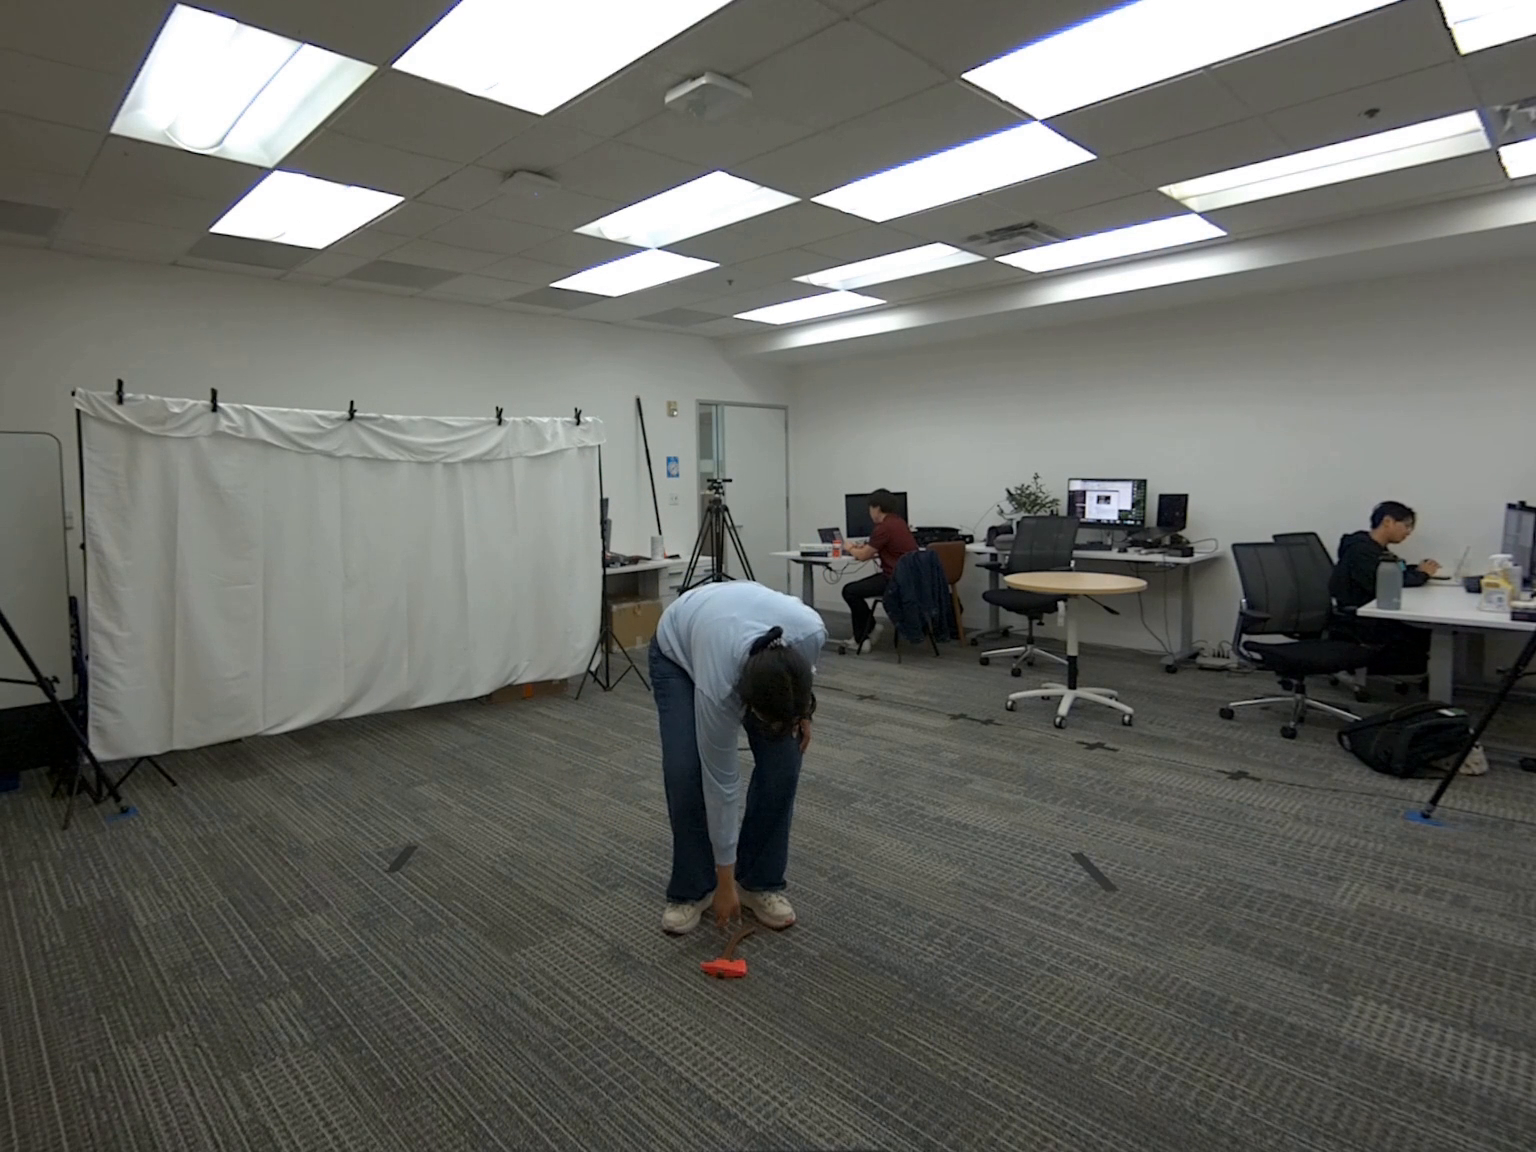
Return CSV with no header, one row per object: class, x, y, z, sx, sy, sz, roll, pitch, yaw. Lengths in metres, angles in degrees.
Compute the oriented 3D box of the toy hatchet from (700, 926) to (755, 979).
toy hatchet,-0.082,1.096,2.511,0.134,0.029,0.263,1,5,32
